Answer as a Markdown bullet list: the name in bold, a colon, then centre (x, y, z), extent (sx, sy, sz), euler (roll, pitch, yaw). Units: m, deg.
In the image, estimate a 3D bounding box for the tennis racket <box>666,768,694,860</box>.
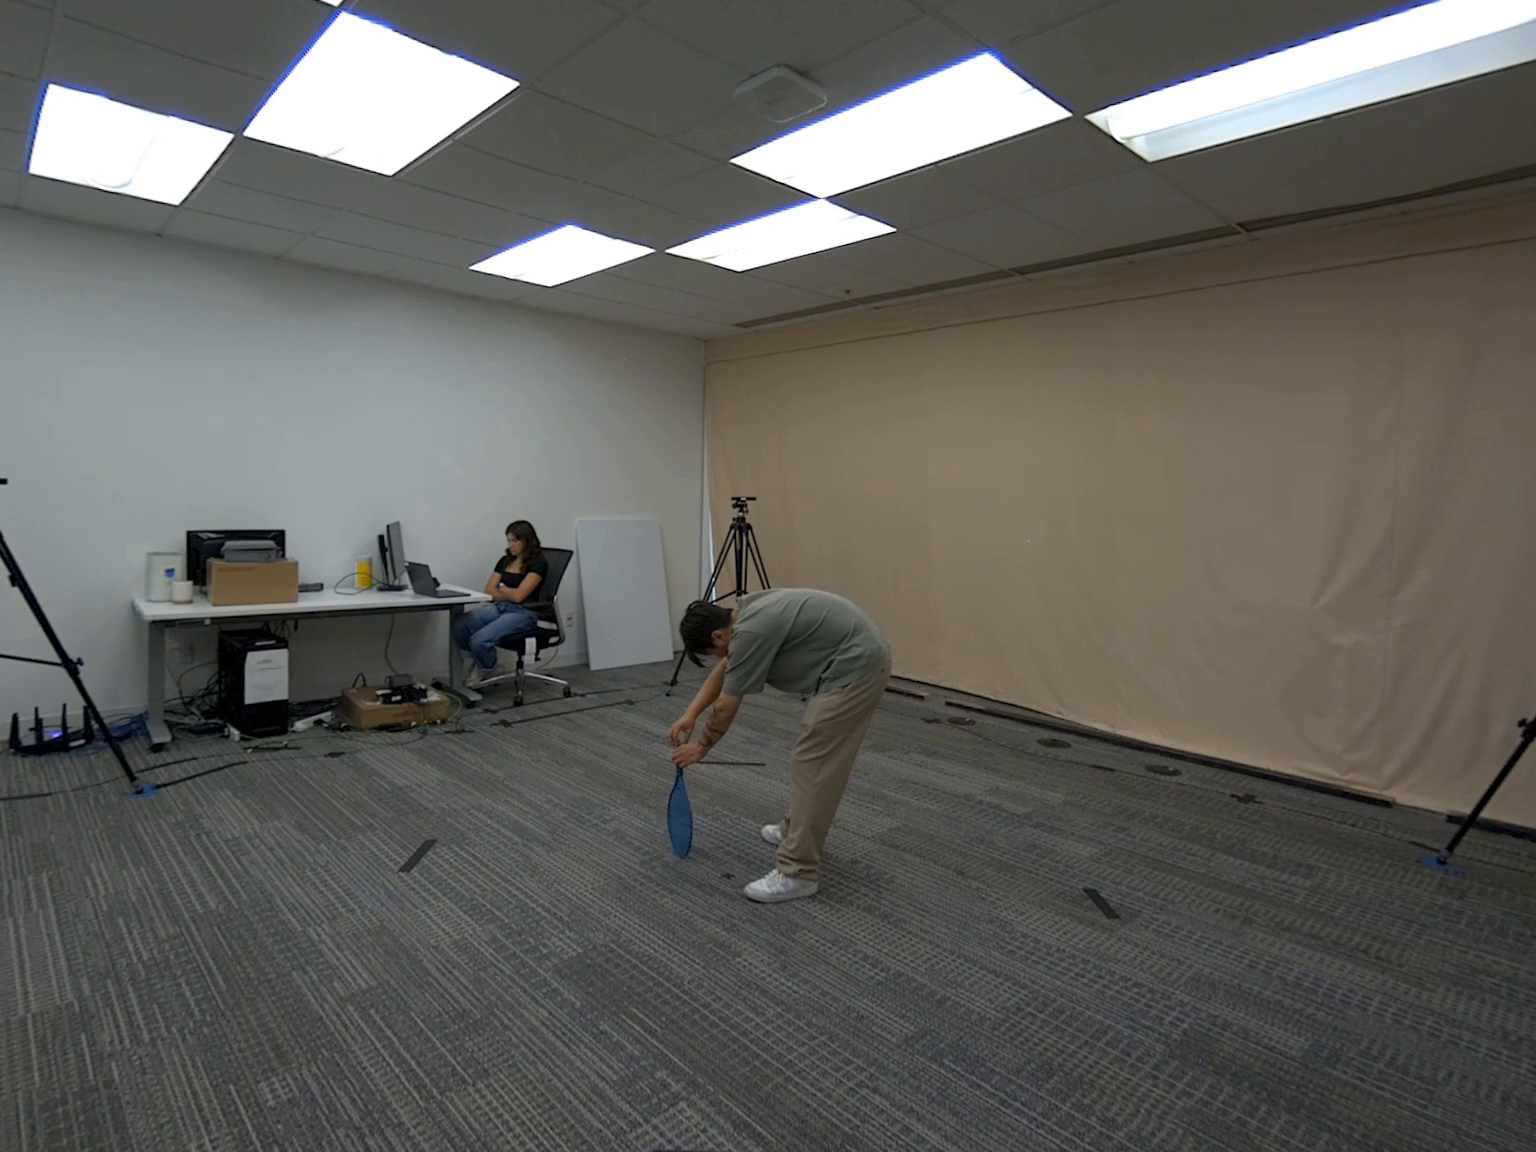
- **tennis racket**: centre (-0.348, 0.872, 3.275), extent (0.031, 0.435, 0.217), euler (1, -6, -26)
